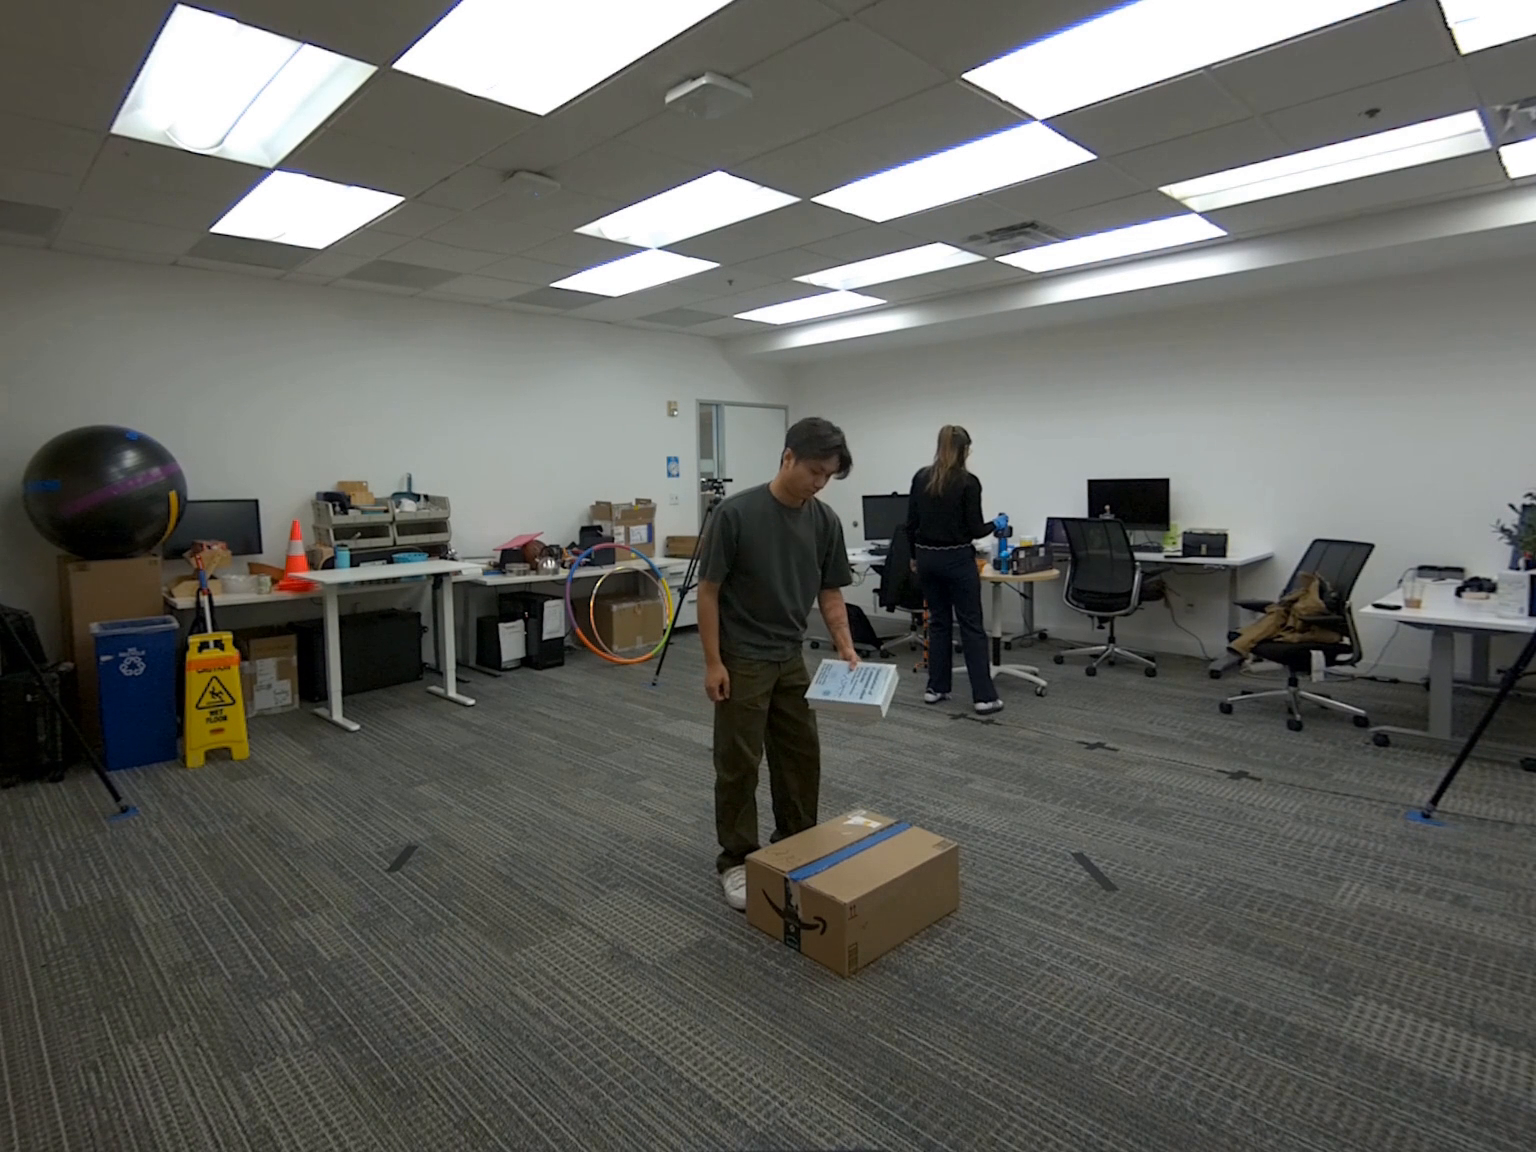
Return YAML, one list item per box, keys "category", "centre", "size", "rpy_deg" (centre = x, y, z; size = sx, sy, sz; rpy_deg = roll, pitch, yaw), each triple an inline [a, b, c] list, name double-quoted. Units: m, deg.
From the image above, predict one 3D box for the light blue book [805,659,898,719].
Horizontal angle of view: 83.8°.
- category: "light blue book"
  centre: [0.276, 0.363, 2.798]
  size: [0.267, 0.057, 0.192]
  rpy_deg: [0, 36, 28]
